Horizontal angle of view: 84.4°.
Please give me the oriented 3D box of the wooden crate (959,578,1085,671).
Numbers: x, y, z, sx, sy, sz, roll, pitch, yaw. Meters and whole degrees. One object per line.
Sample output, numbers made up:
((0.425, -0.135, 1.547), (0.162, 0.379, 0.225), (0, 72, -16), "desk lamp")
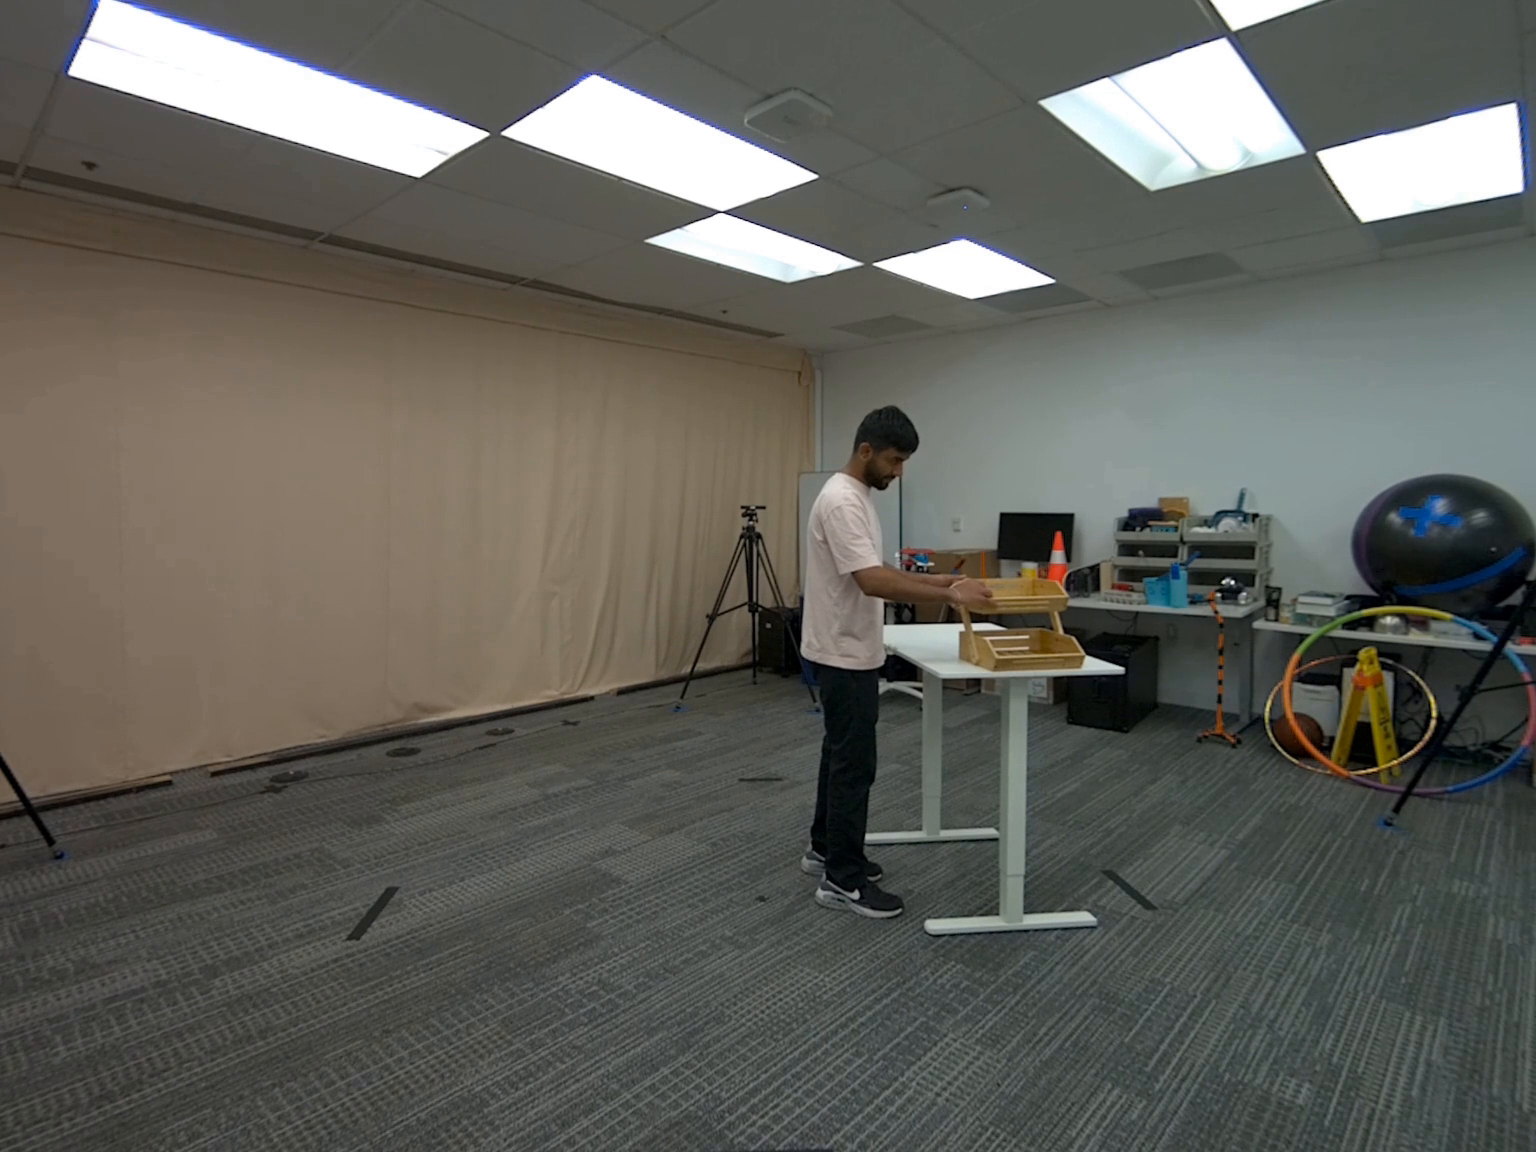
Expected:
((0.821, 0.155, 2.718), (0.321, 0.273, 0.306), (-1, 4, -10), "wooden crate")
